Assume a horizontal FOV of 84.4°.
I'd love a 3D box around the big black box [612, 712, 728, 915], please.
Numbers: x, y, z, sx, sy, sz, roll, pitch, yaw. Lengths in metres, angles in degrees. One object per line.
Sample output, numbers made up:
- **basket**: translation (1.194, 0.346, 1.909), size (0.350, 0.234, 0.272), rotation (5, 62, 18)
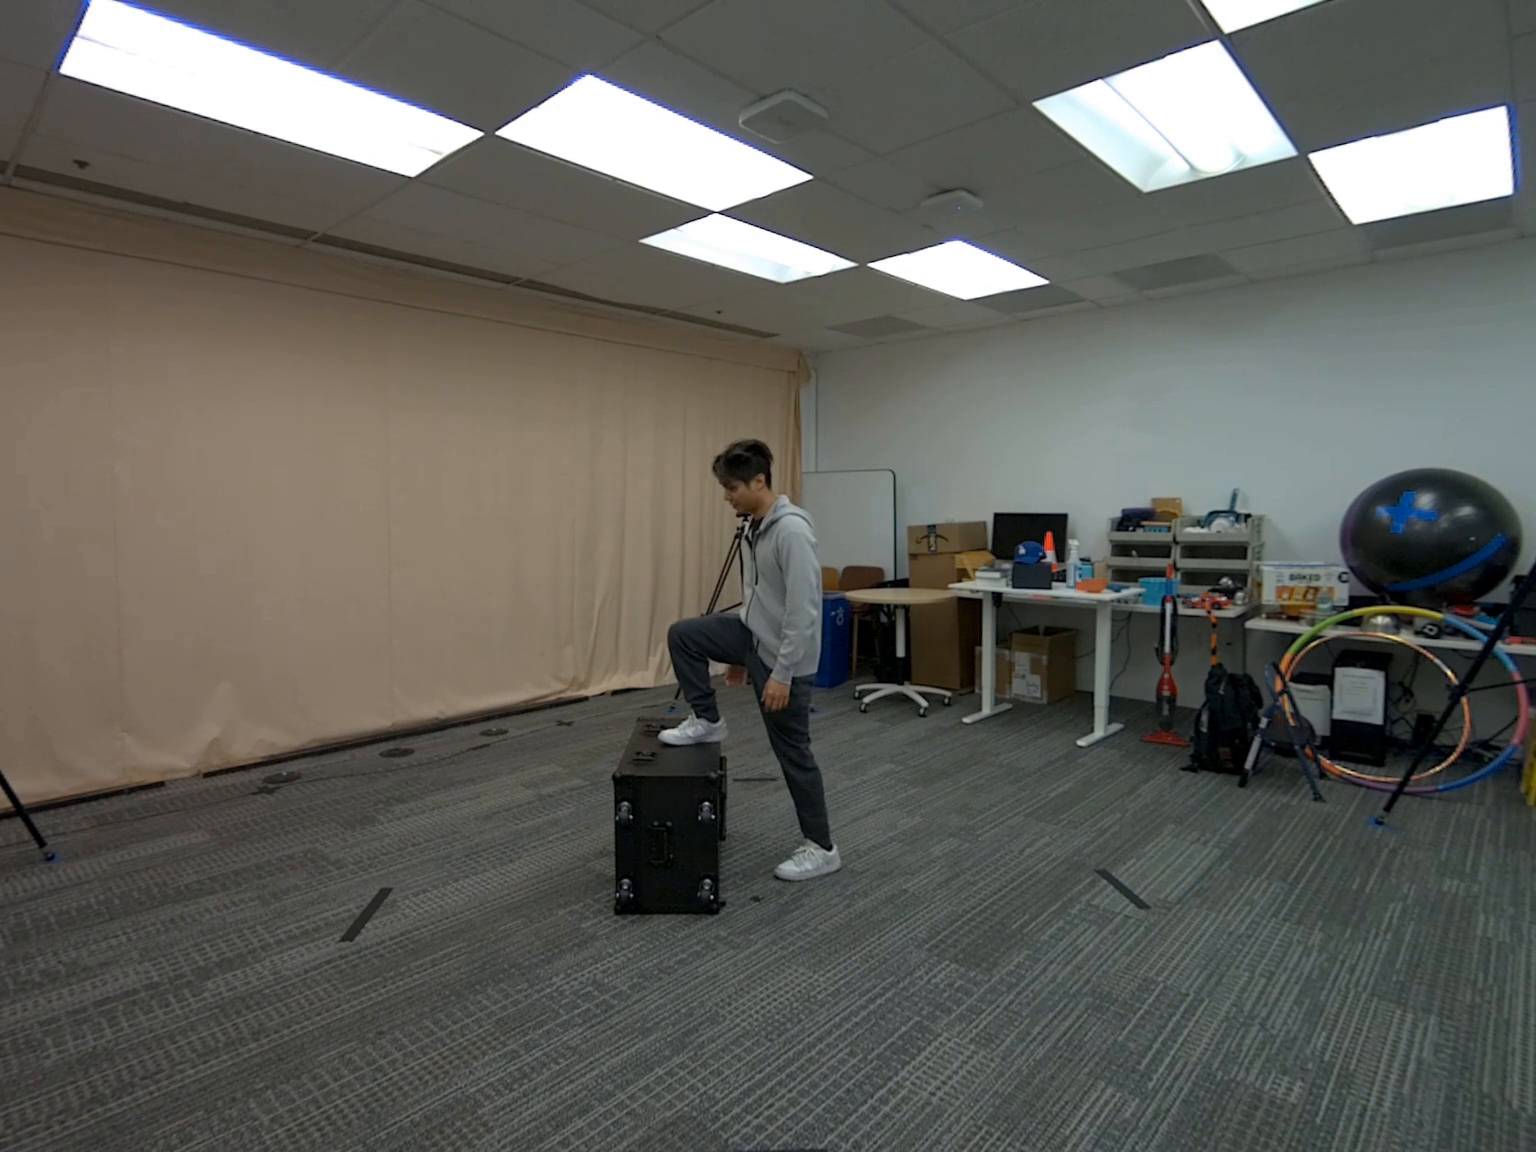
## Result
- **big black box**: translation (-0.348, 0.885, 3.212), size (0.396, 0.520, 0.863), rotation (0, 4, -2)
